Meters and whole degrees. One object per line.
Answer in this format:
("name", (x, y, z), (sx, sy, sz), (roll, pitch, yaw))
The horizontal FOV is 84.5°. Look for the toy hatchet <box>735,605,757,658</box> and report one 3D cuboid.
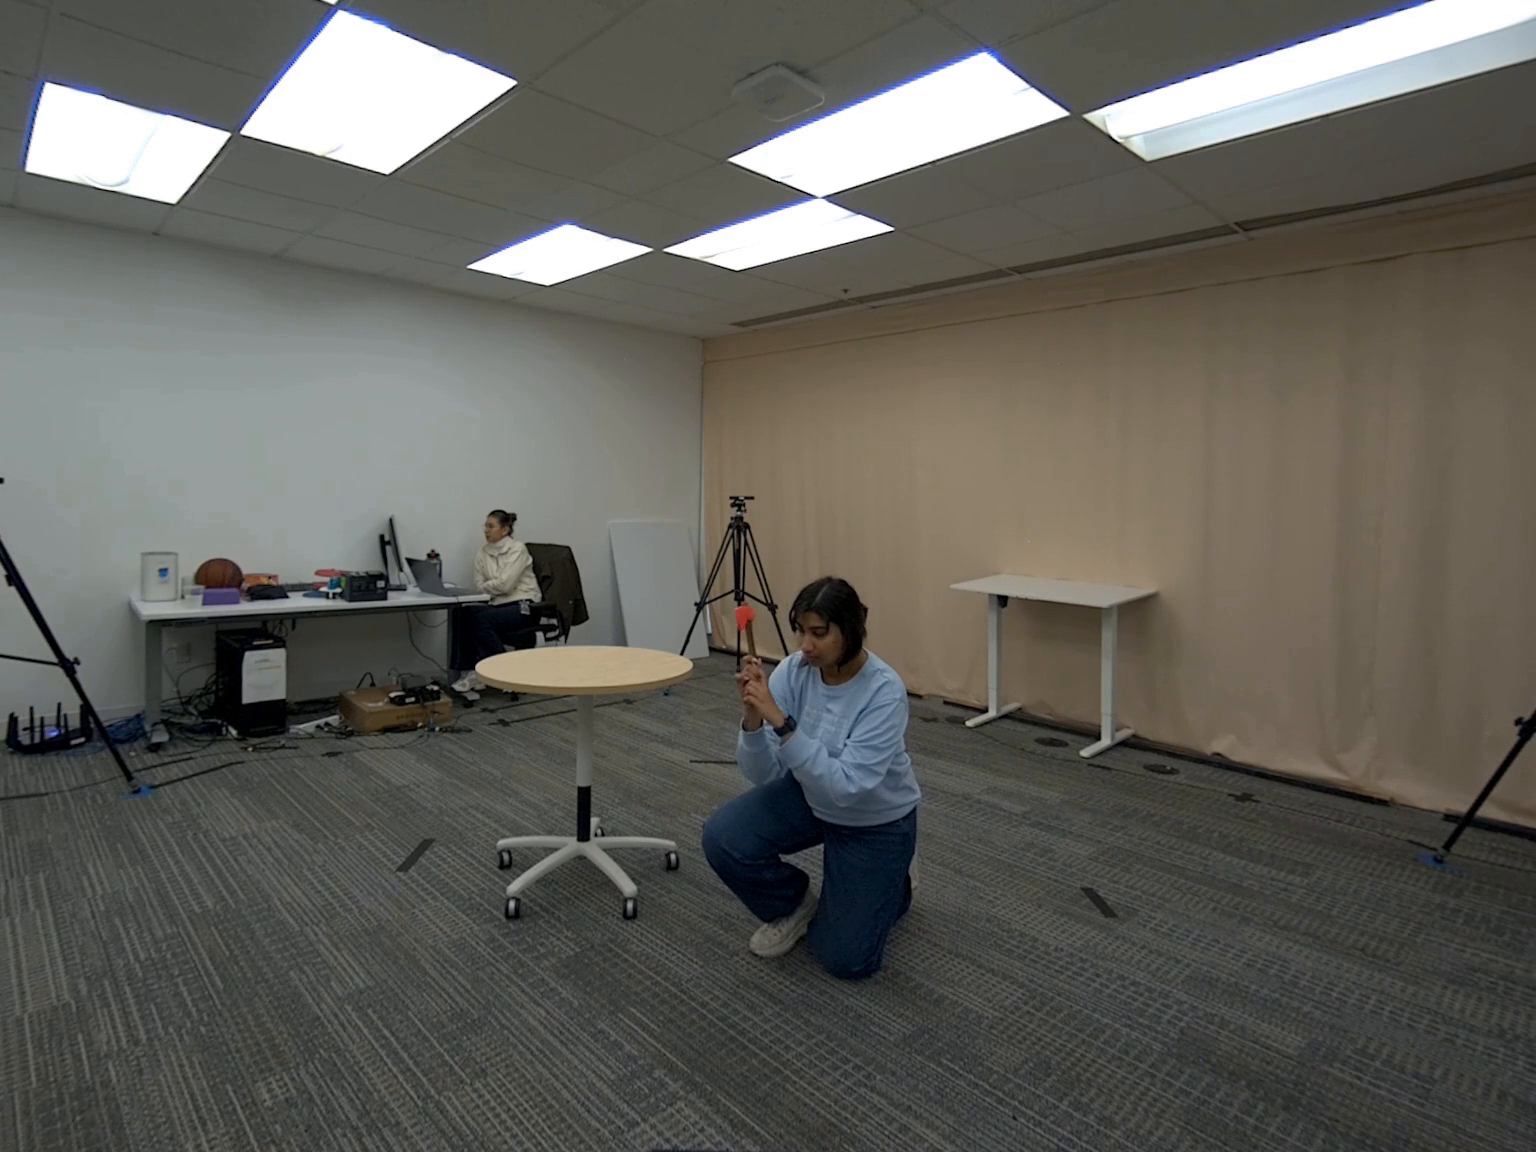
("toy hatchet", (-0.060, 0.218, 2.283), (0.030, 0.275, 0.127), (-14, -30, 20))
